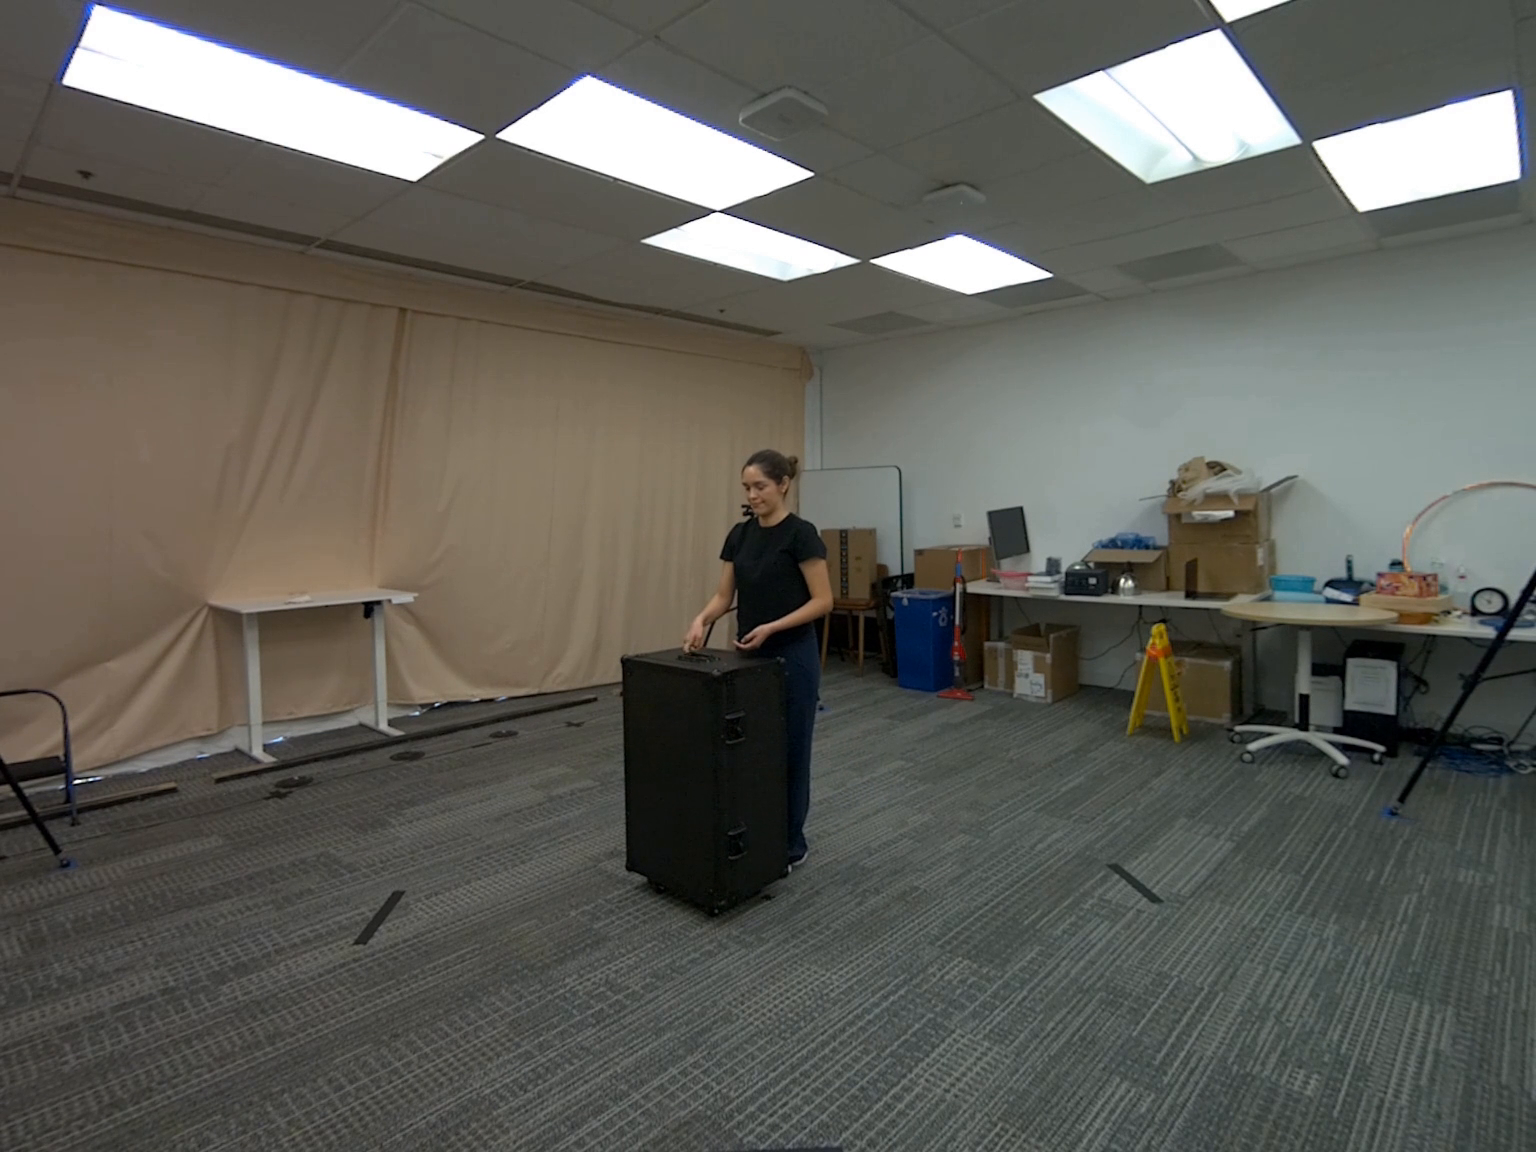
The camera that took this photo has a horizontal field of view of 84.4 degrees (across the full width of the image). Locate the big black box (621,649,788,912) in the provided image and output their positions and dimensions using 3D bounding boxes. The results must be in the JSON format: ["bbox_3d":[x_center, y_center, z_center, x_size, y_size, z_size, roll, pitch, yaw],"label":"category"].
[{"bbox_3d":[-0.212,0.714,3.030,0.538,0.860,0.384,1,3,42],"label":"big black box"}]
